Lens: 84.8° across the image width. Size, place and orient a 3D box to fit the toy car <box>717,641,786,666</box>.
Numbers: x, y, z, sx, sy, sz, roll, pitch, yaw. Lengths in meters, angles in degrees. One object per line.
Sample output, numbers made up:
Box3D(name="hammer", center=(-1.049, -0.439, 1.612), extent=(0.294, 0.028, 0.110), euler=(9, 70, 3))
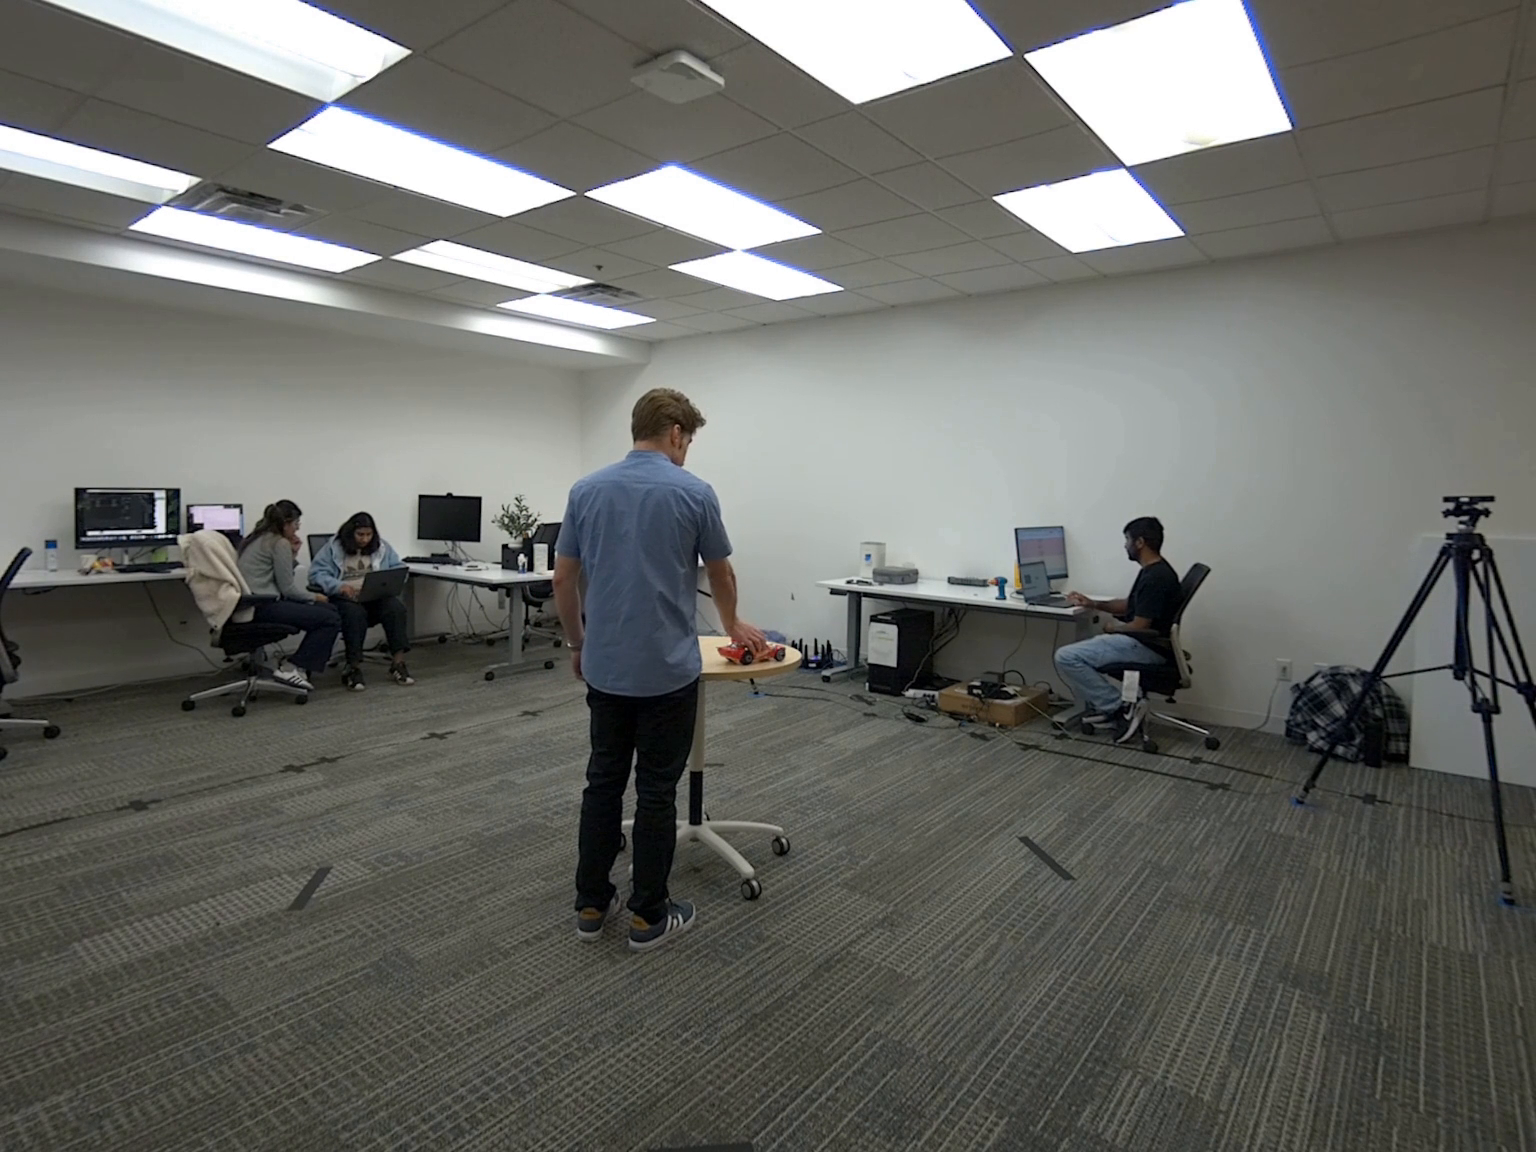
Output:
Box3D(name="toy car", center=(-0.067, 0.267, 2.987), extent=(0.246, 0.083, 0.134), euler=(10, -2, -35))
